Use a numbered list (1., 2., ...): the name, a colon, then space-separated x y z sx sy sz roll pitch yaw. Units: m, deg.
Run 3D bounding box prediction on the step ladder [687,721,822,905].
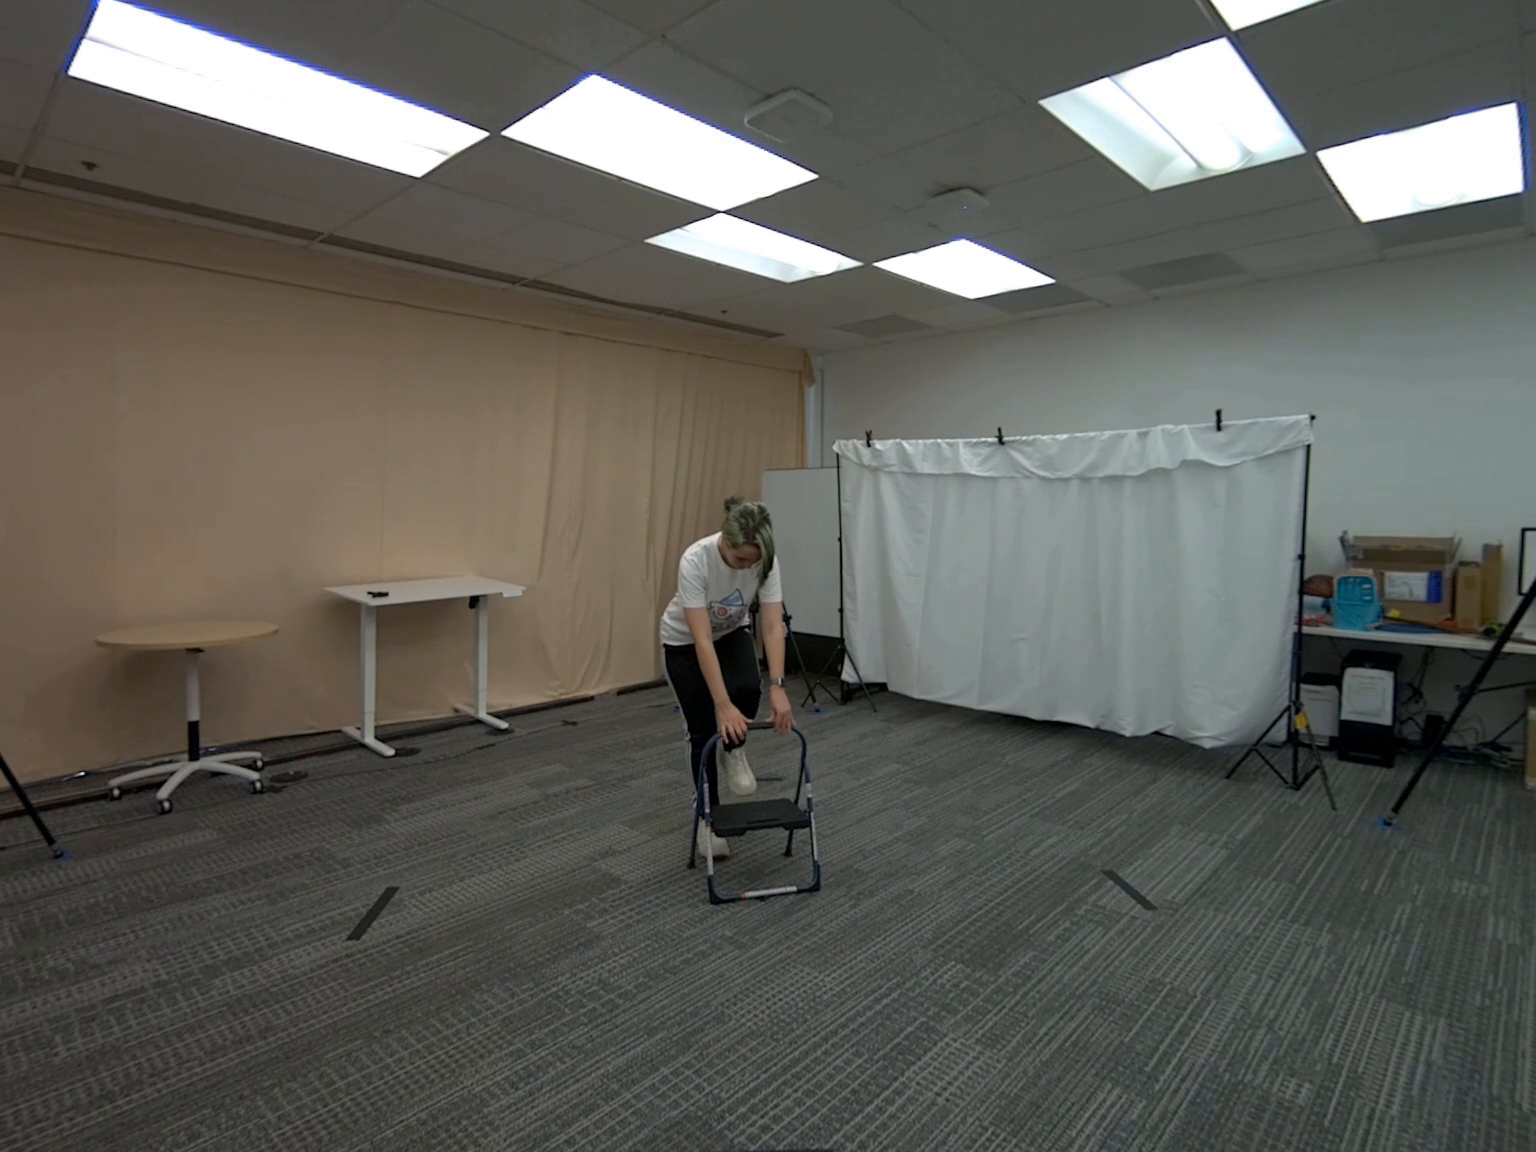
1. step ladder: -0.054 0.829 3.134 0.423 0.605 0.356 -1 3 -17
